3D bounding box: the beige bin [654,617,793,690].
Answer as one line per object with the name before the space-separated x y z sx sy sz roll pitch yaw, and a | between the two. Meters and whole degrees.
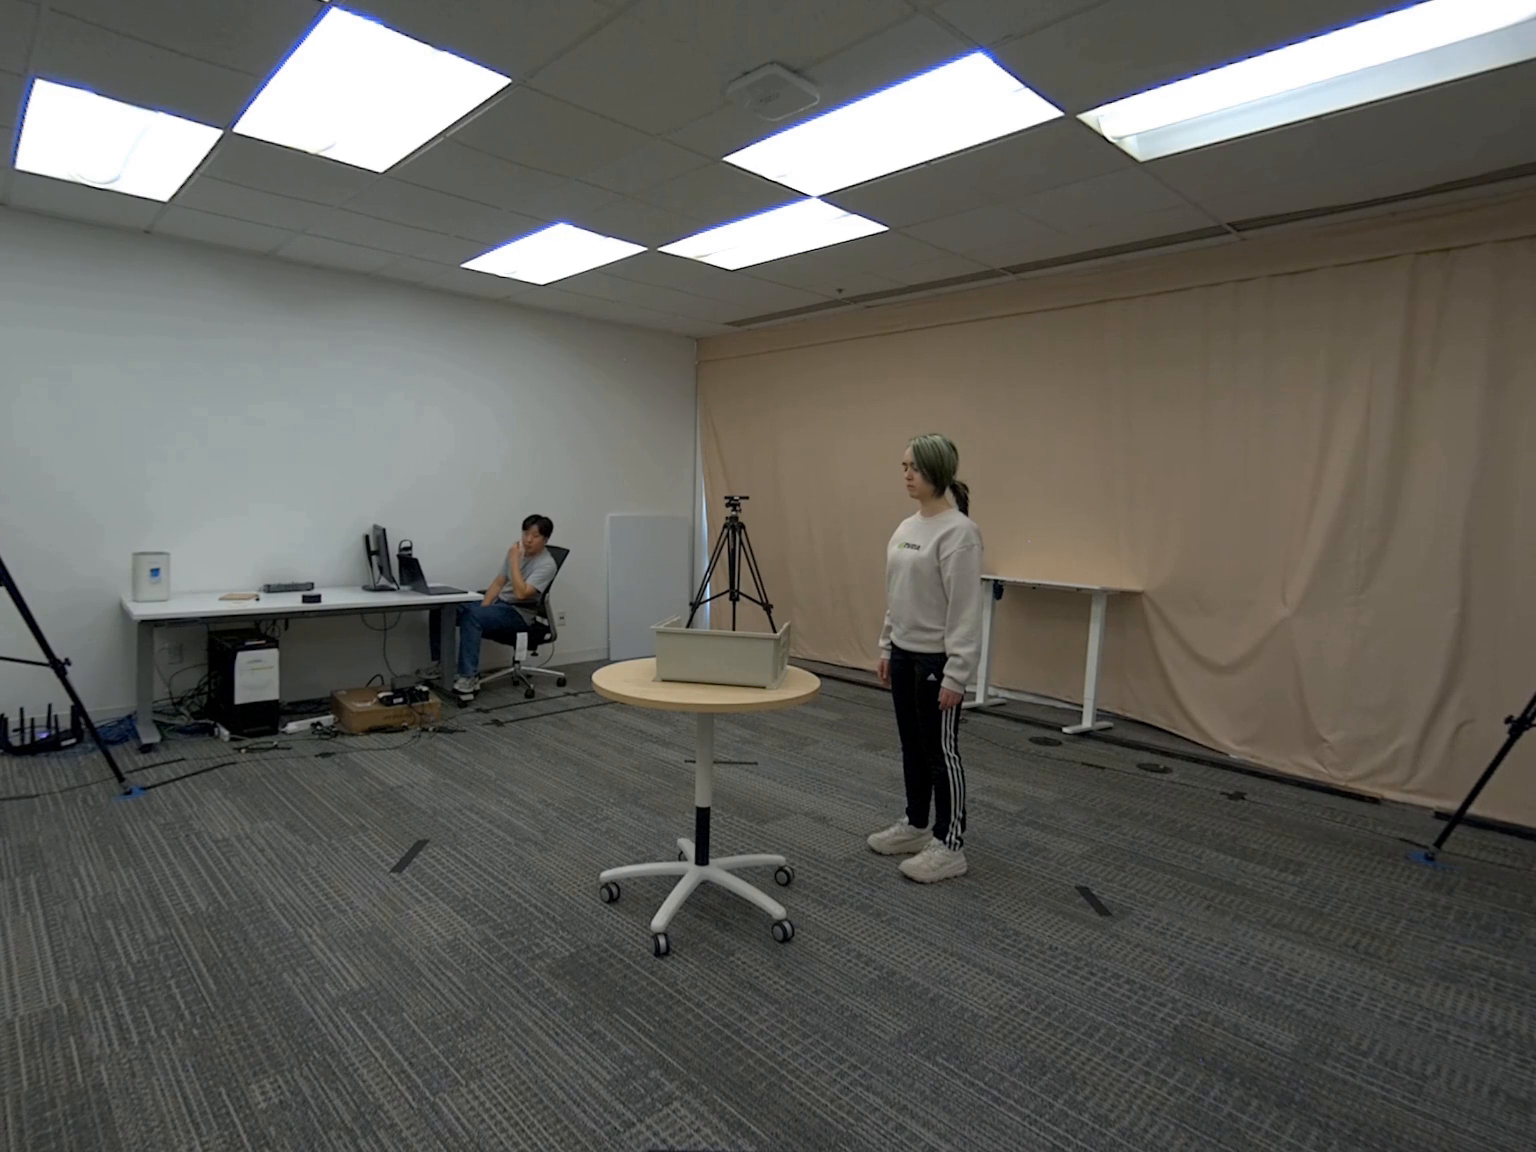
beige bin | -0.153 0.248 2.876 0.426 0.188 0.376 3 7 9
